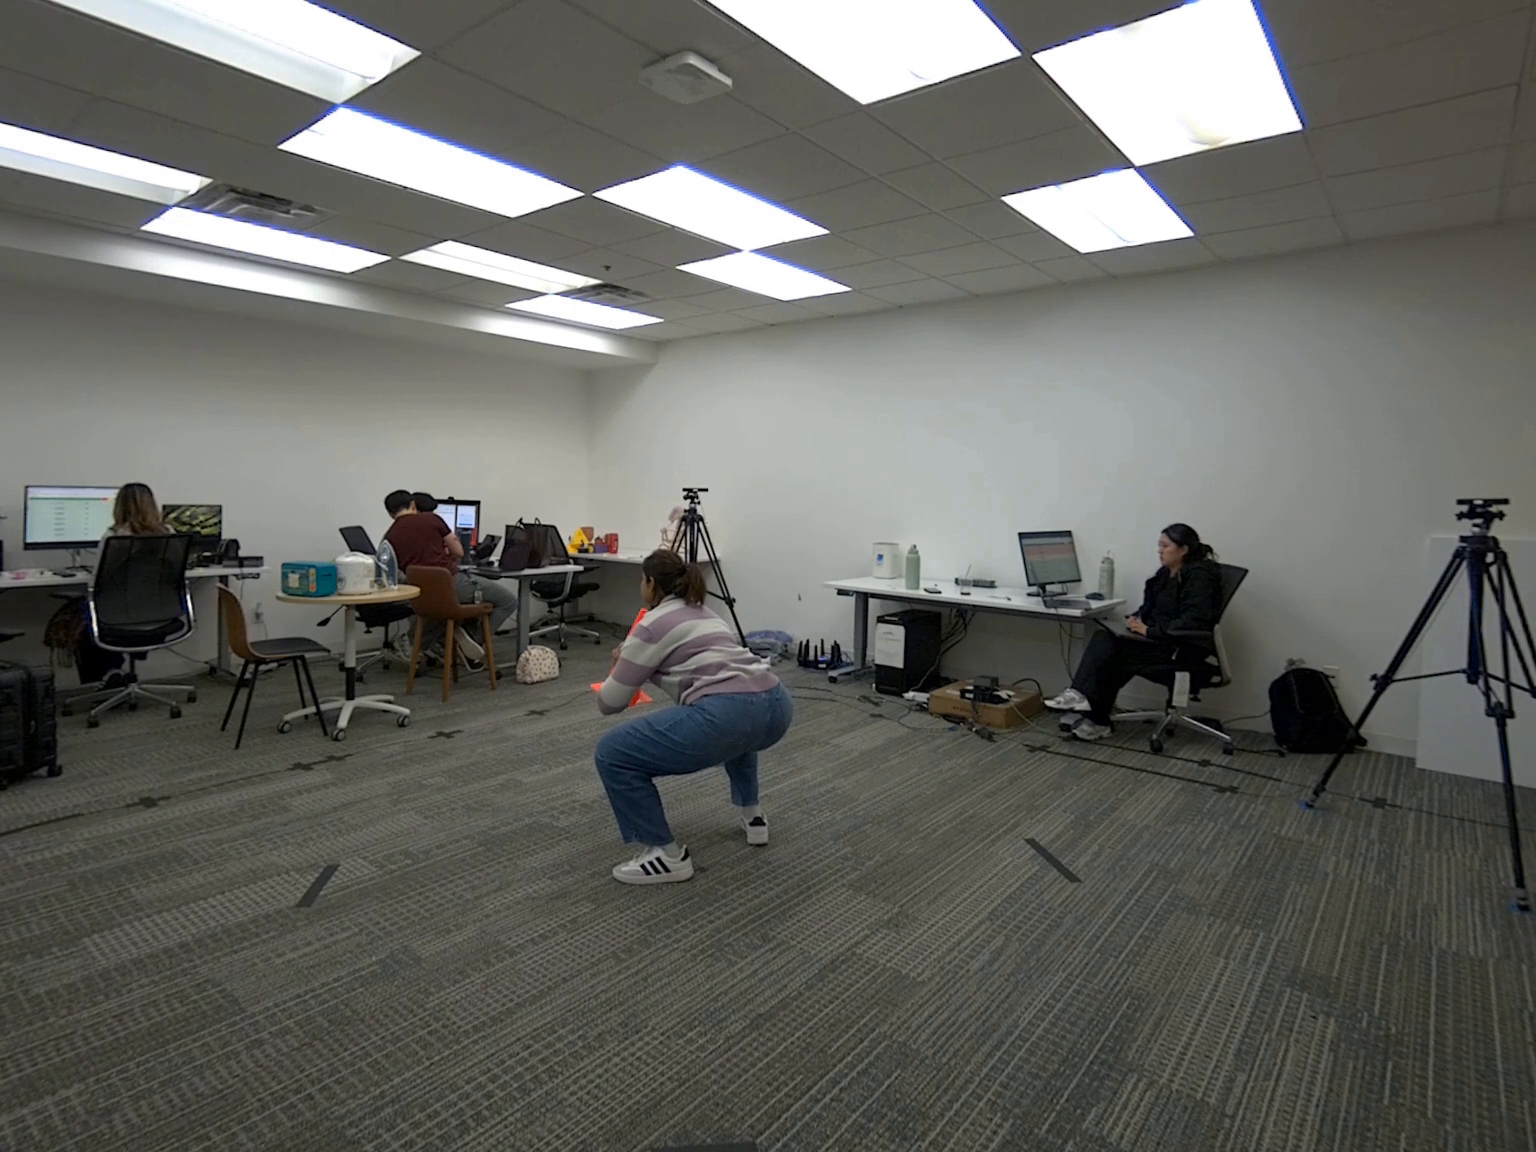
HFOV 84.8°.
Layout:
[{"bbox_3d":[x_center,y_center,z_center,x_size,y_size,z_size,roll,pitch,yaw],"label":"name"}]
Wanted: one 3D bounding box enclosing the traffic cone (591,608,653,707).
[{"bbox_3d":[-0.562,0.314,3.487,0.212,0.380,0.198,28,18,37],"label":"traffic cone"}]
